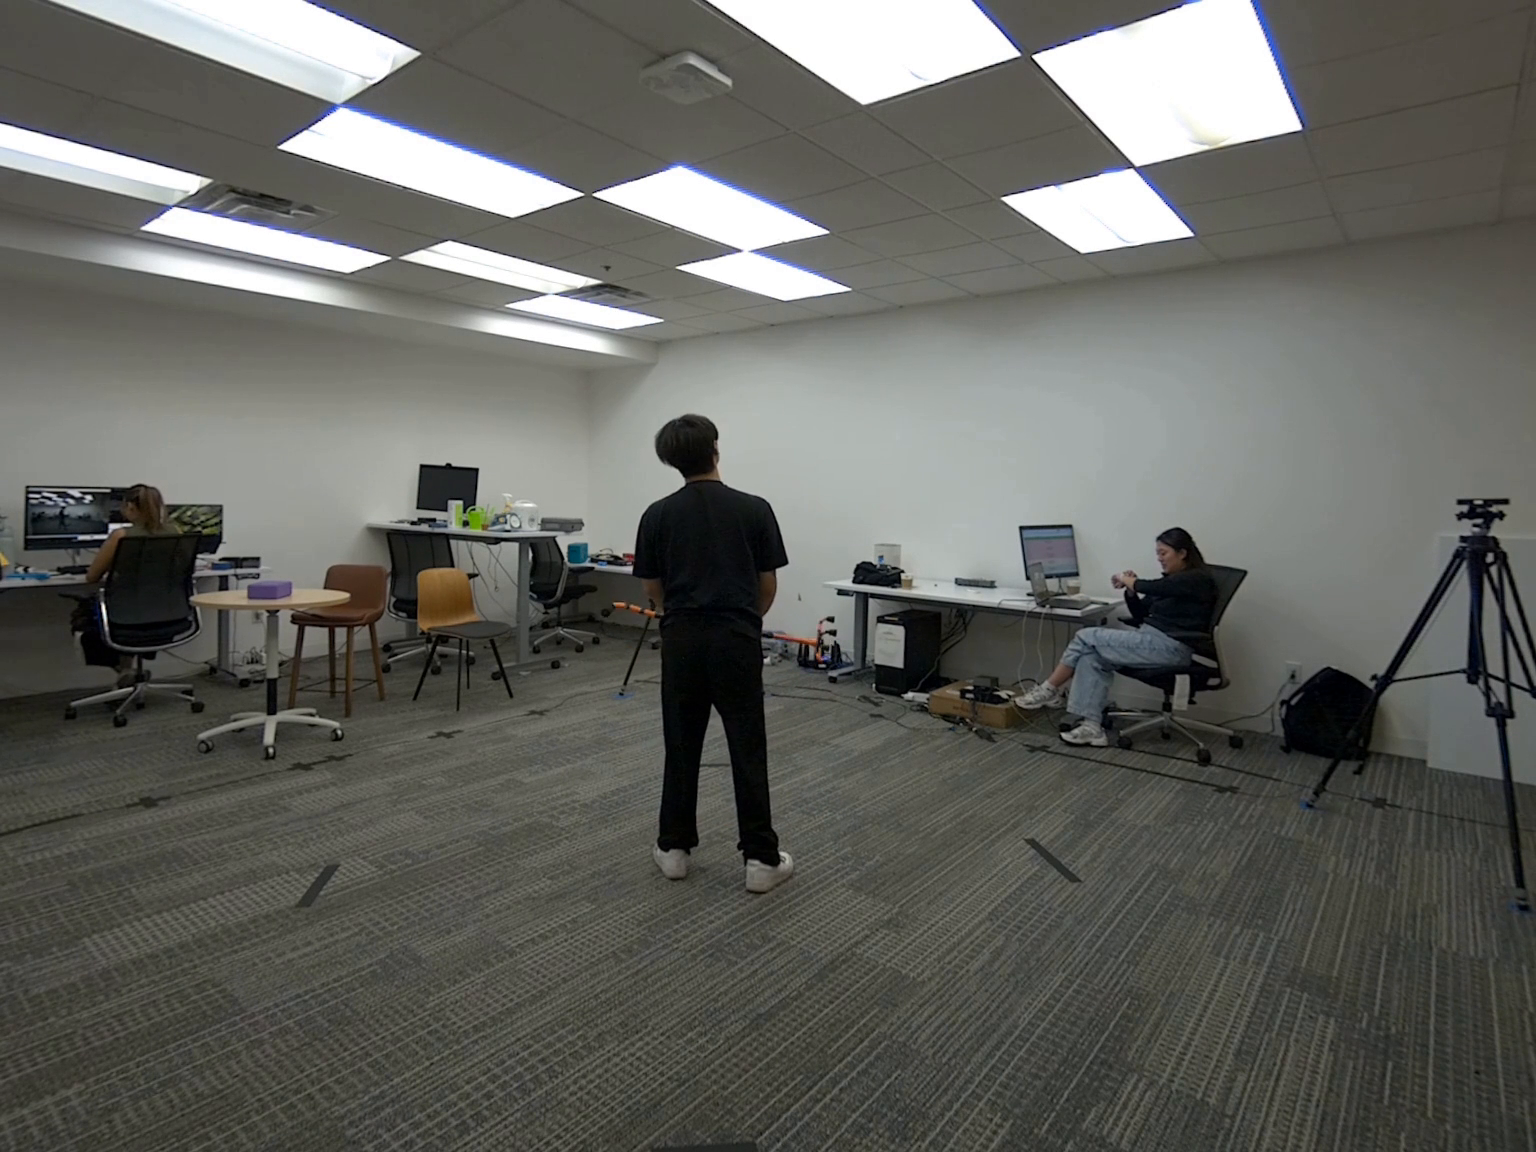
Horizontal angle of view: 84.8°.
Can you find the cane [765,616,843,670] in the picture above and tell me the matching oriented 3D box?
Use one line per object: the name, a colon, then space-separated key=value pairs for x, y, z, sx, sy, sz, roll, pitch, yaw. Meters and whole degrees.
cane: x=-0.204 y=0.184 z=3.382 sx=0.912 sy=0.150 sz=0.207 roll=10 pitch=10 yaw=3
